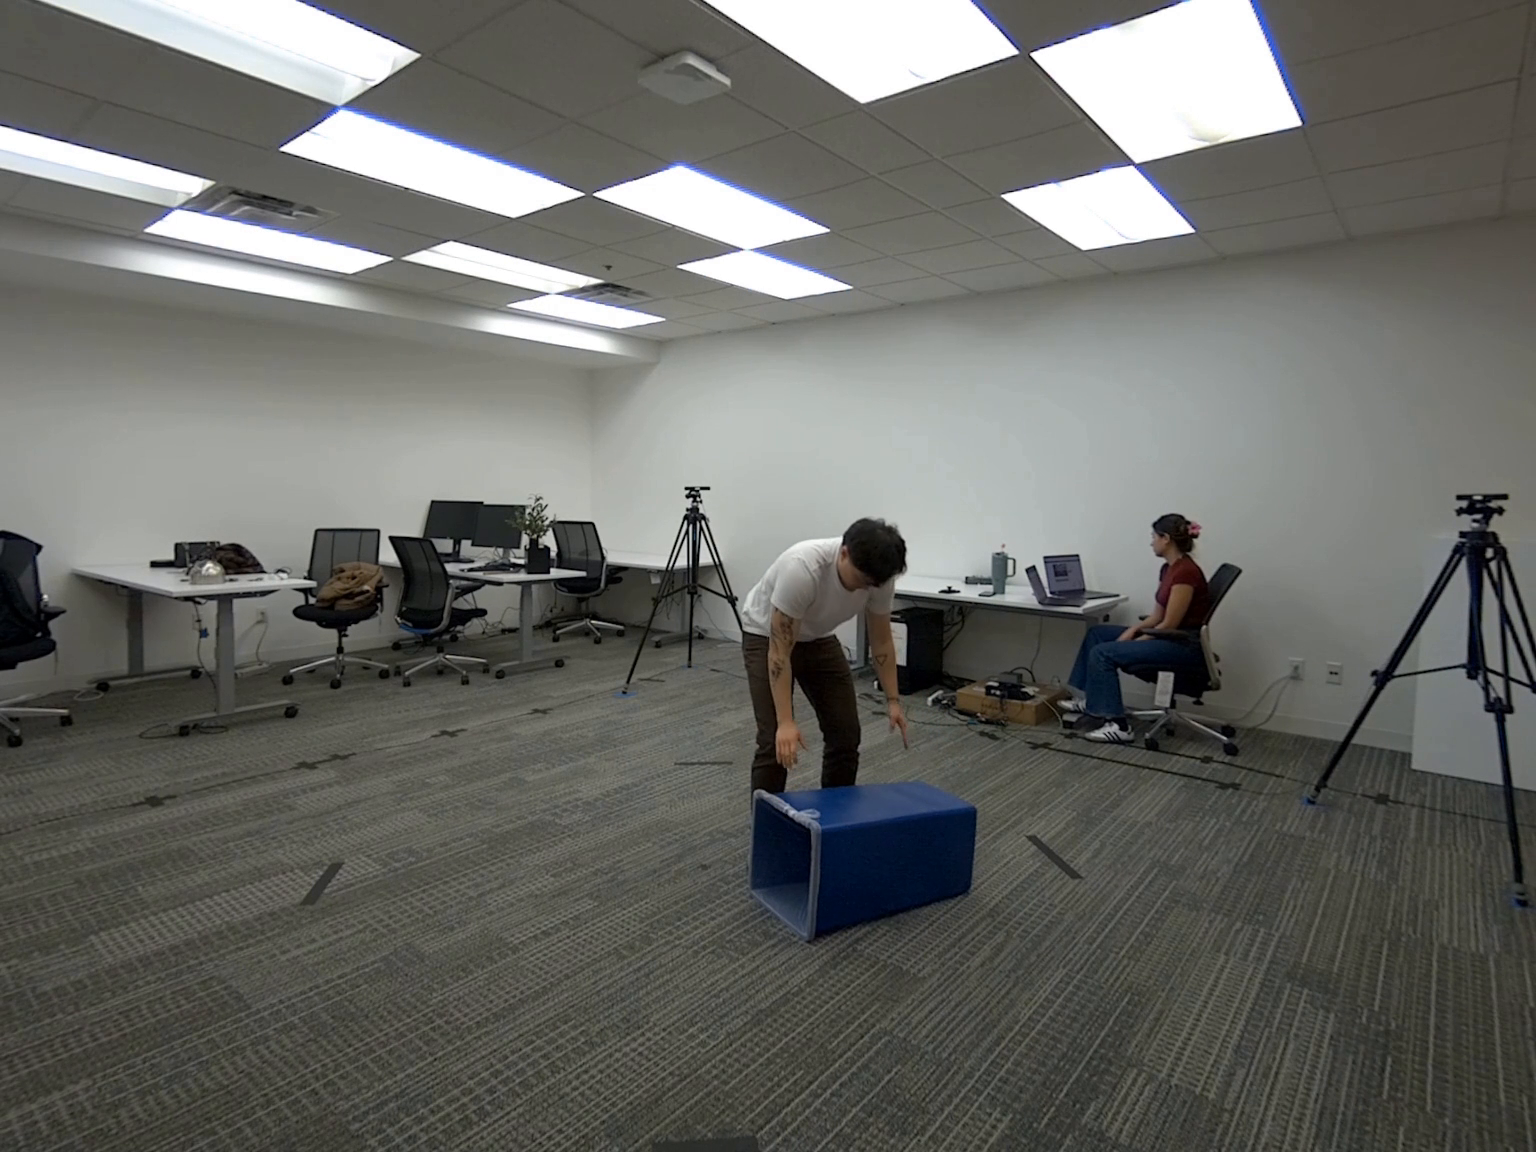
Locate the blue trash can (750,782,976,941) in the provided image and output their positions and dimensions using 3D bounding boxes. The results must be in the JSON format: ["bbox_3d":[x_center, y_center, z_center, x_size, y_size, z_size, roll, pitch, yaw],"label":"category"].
[{"bbox_3d":[0.329,0.927,2.919,0.693,0.378,0.385,1,2,-31],"label":"blue trash can"}]
